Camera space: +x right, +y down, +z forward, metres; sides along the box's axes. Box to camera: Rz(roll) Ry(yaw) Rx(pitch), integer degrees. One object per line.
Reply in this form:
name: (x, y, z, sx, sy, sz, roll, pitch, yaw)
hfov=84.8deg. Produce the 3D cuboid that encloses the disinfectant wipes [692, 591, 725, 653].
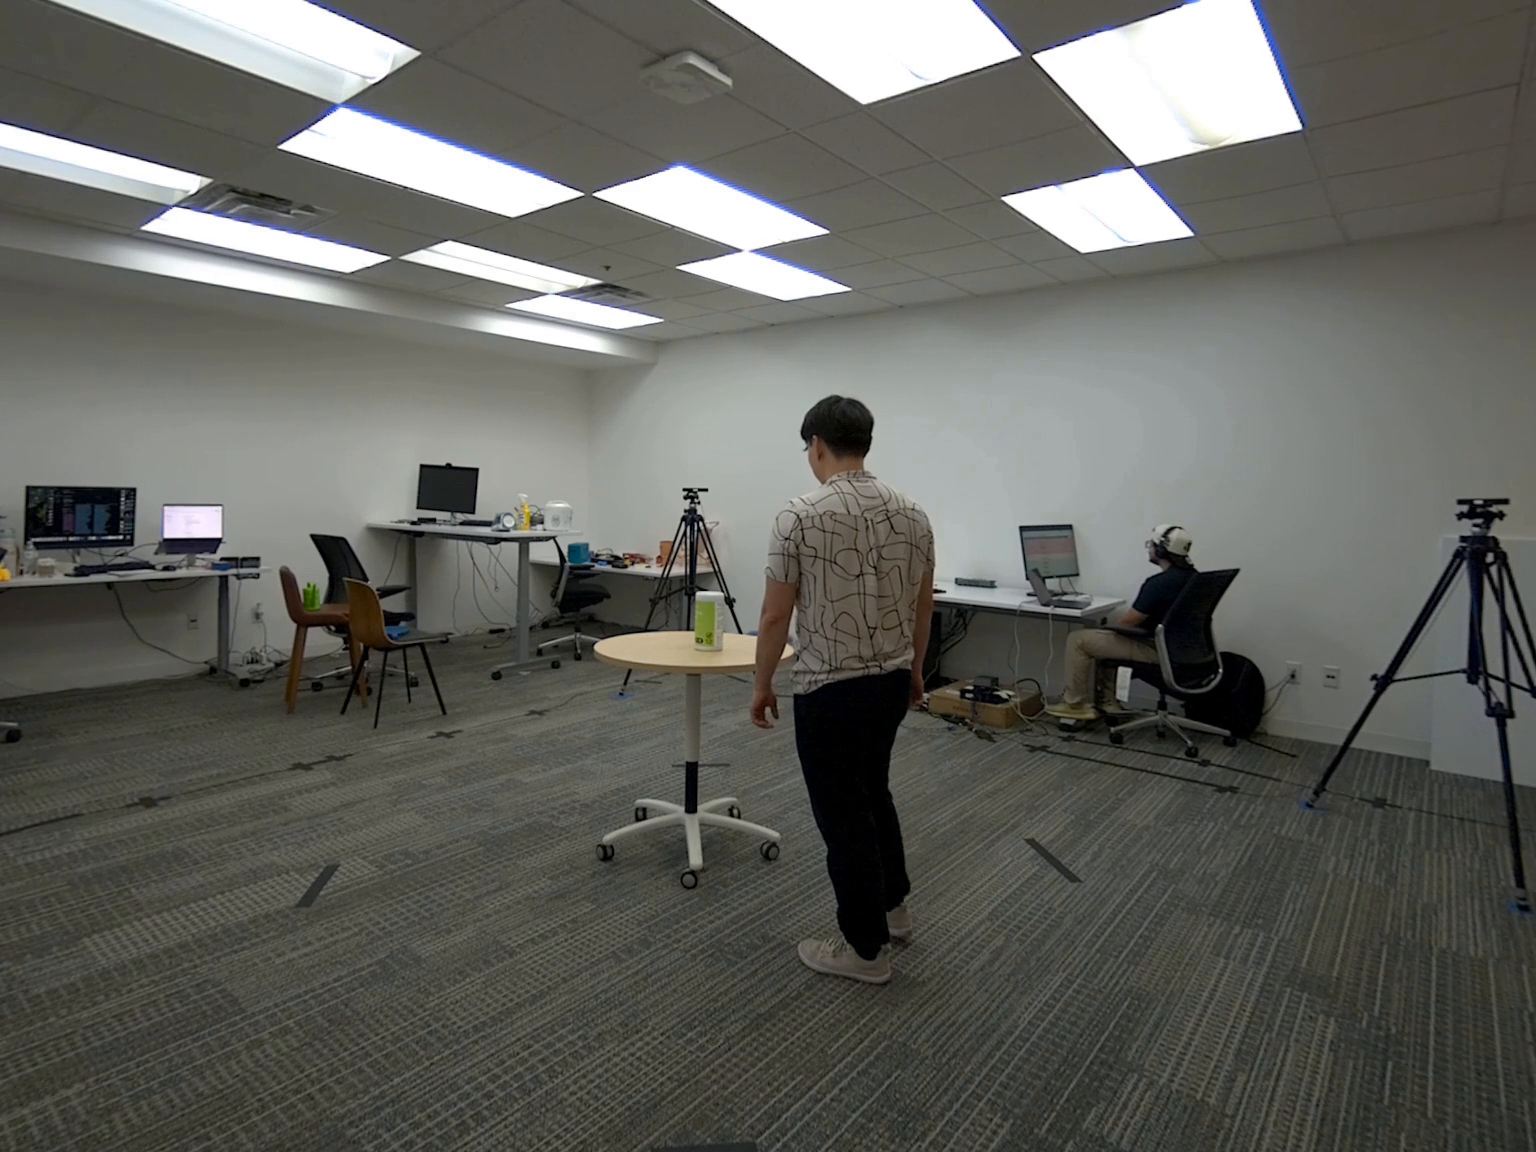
disinfectant wipes: (-0.233, 0.171, 3.226, 0.118, 0.217, 0.118, 0, 4, -2)
